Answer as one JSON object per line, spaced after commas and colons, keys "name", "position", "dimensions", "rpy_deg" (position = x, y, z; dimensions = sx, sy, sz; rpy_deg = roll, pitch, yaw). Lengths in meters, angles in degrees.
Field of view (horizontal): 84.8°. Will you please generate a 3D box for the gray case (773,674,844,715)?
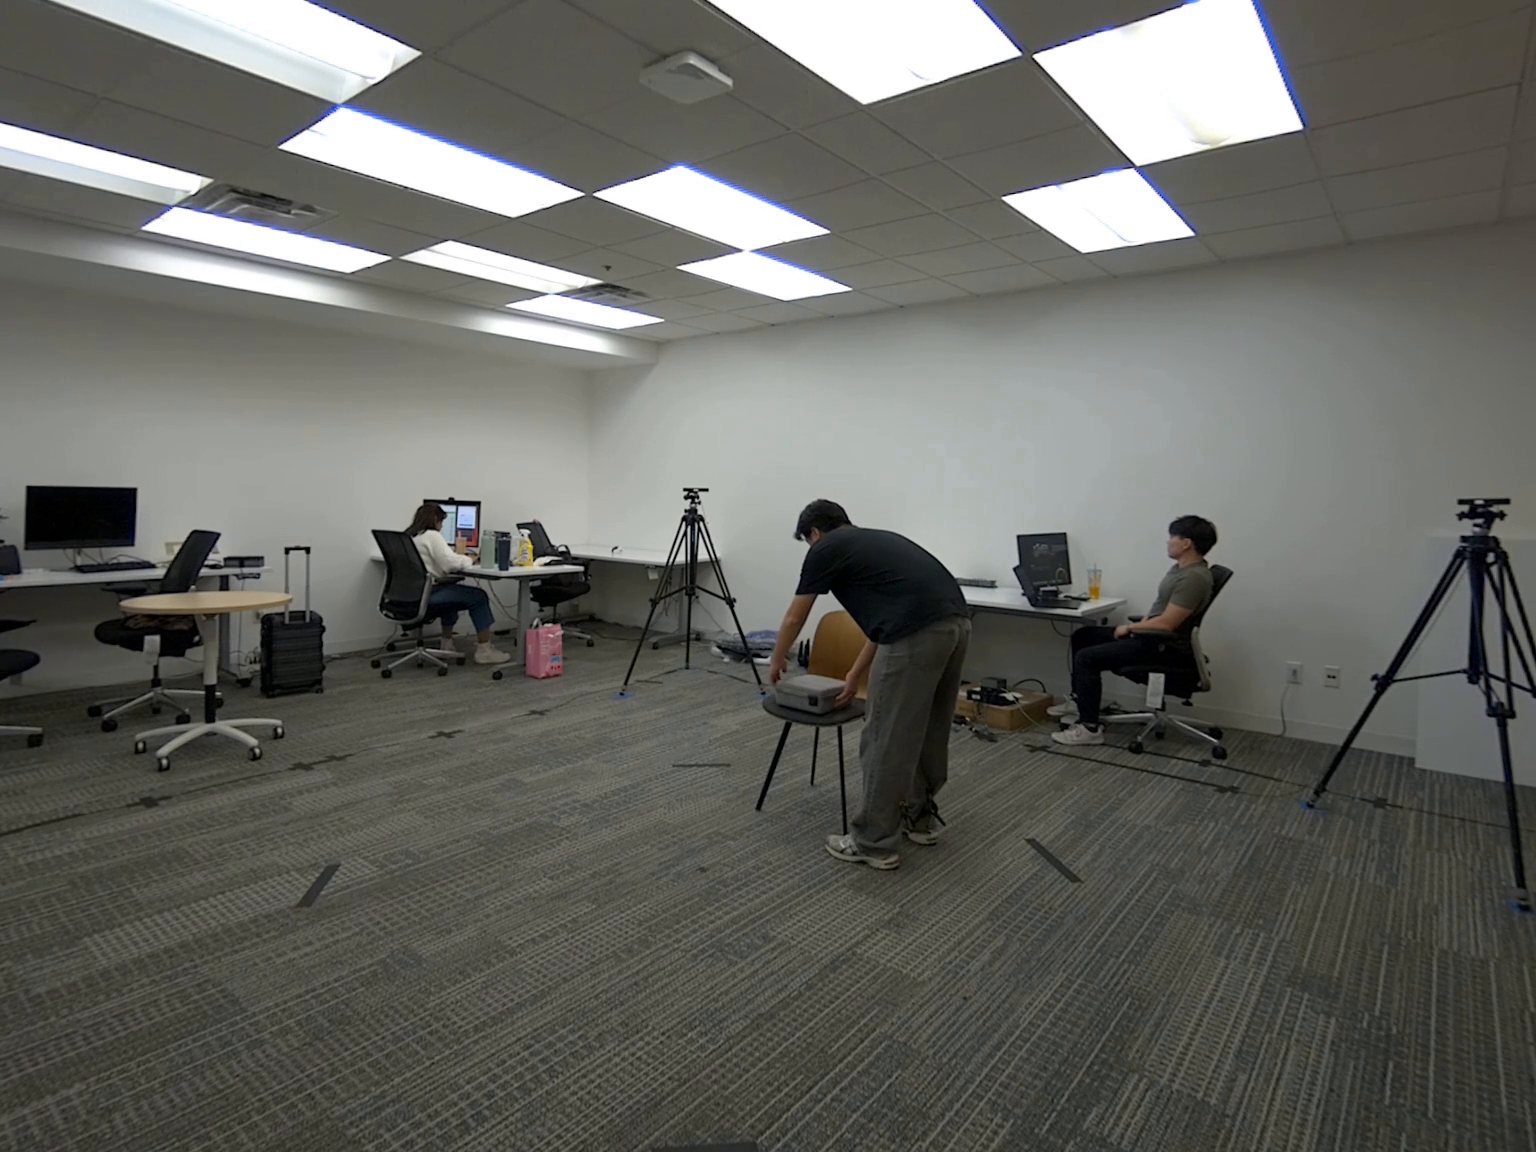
{"name": "gray case", "position": [0.196, 0.491, 3.618], "dimensions": [0.272, 0.103, 0.278], "rpy_deg": [6, 6, 40]}
